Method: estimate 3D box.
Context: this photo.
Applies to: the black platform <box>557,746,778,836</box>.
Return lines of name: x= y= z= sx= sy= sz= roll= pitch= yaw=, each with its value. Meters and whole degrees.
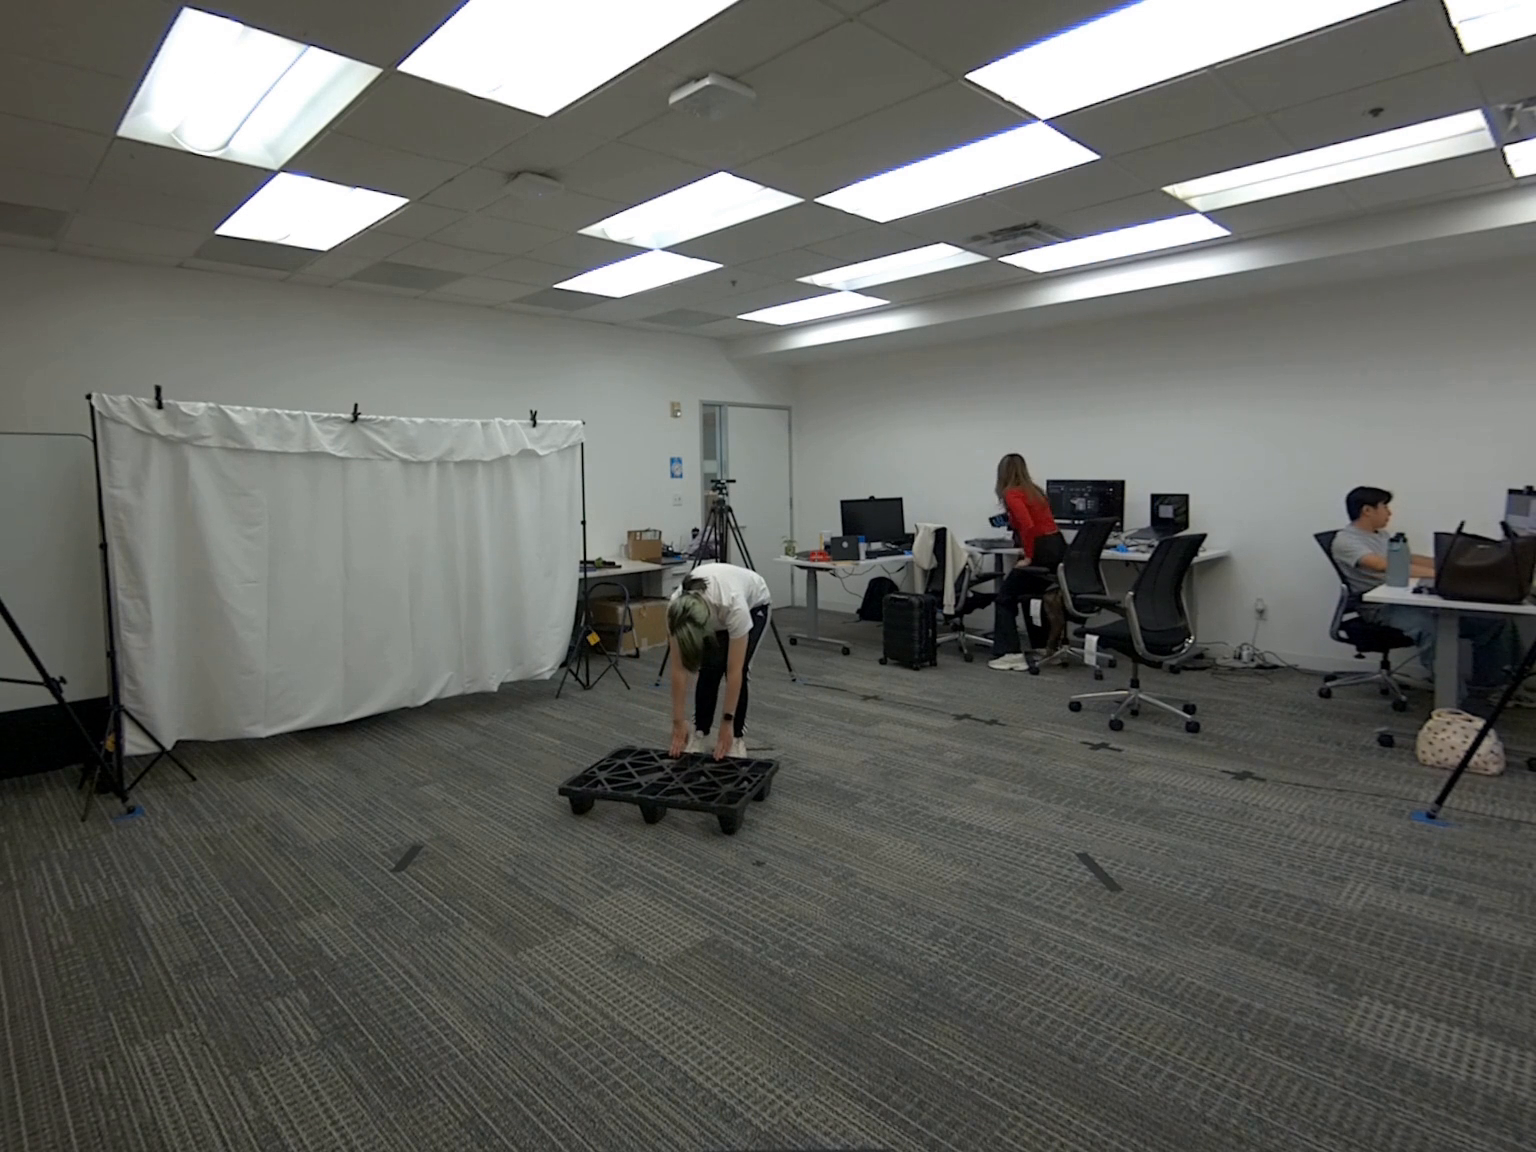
black platform: x=-0.416 y=0.921 z=3.709 sx=0.821 sy=0.143 sz=0.596 roll=1 pitch=6 yaw=20
